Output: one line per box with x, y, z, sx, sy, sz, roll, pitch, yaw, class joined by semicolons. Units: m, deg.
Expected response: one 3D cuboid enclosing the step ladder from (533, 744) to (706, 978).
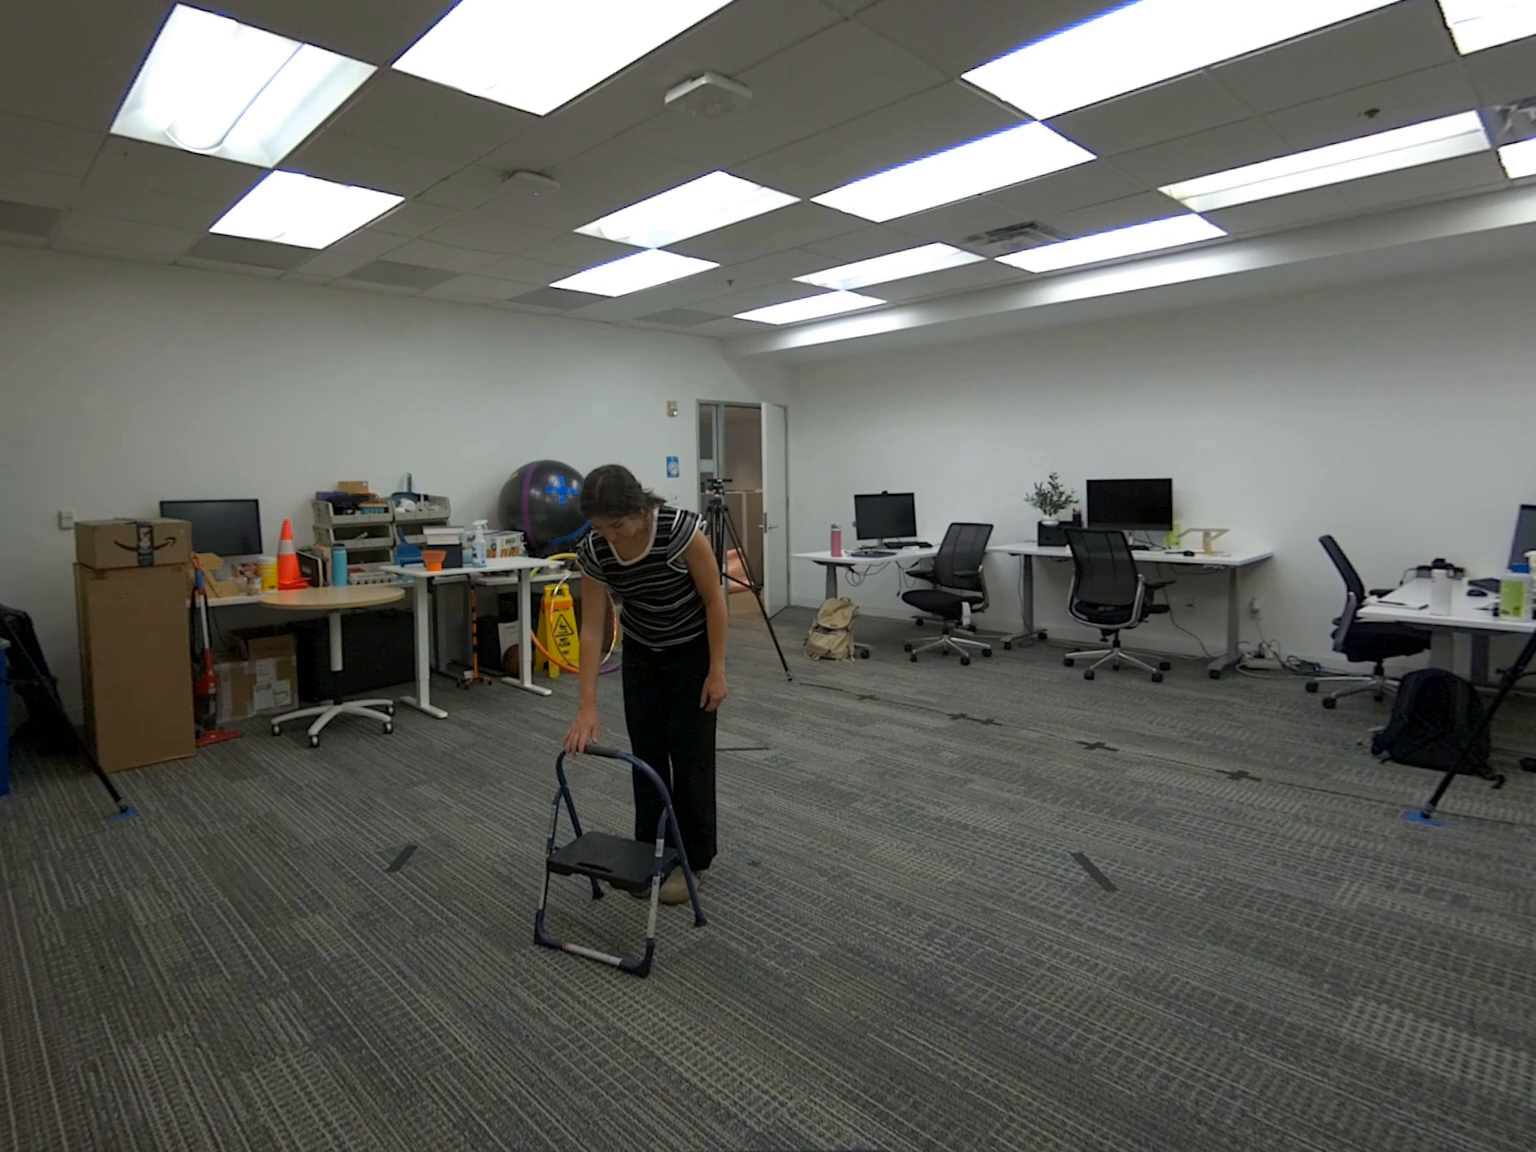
-0.464;0.809;2.627;0.441;0.603;0.342;1;6;27;step ladder
